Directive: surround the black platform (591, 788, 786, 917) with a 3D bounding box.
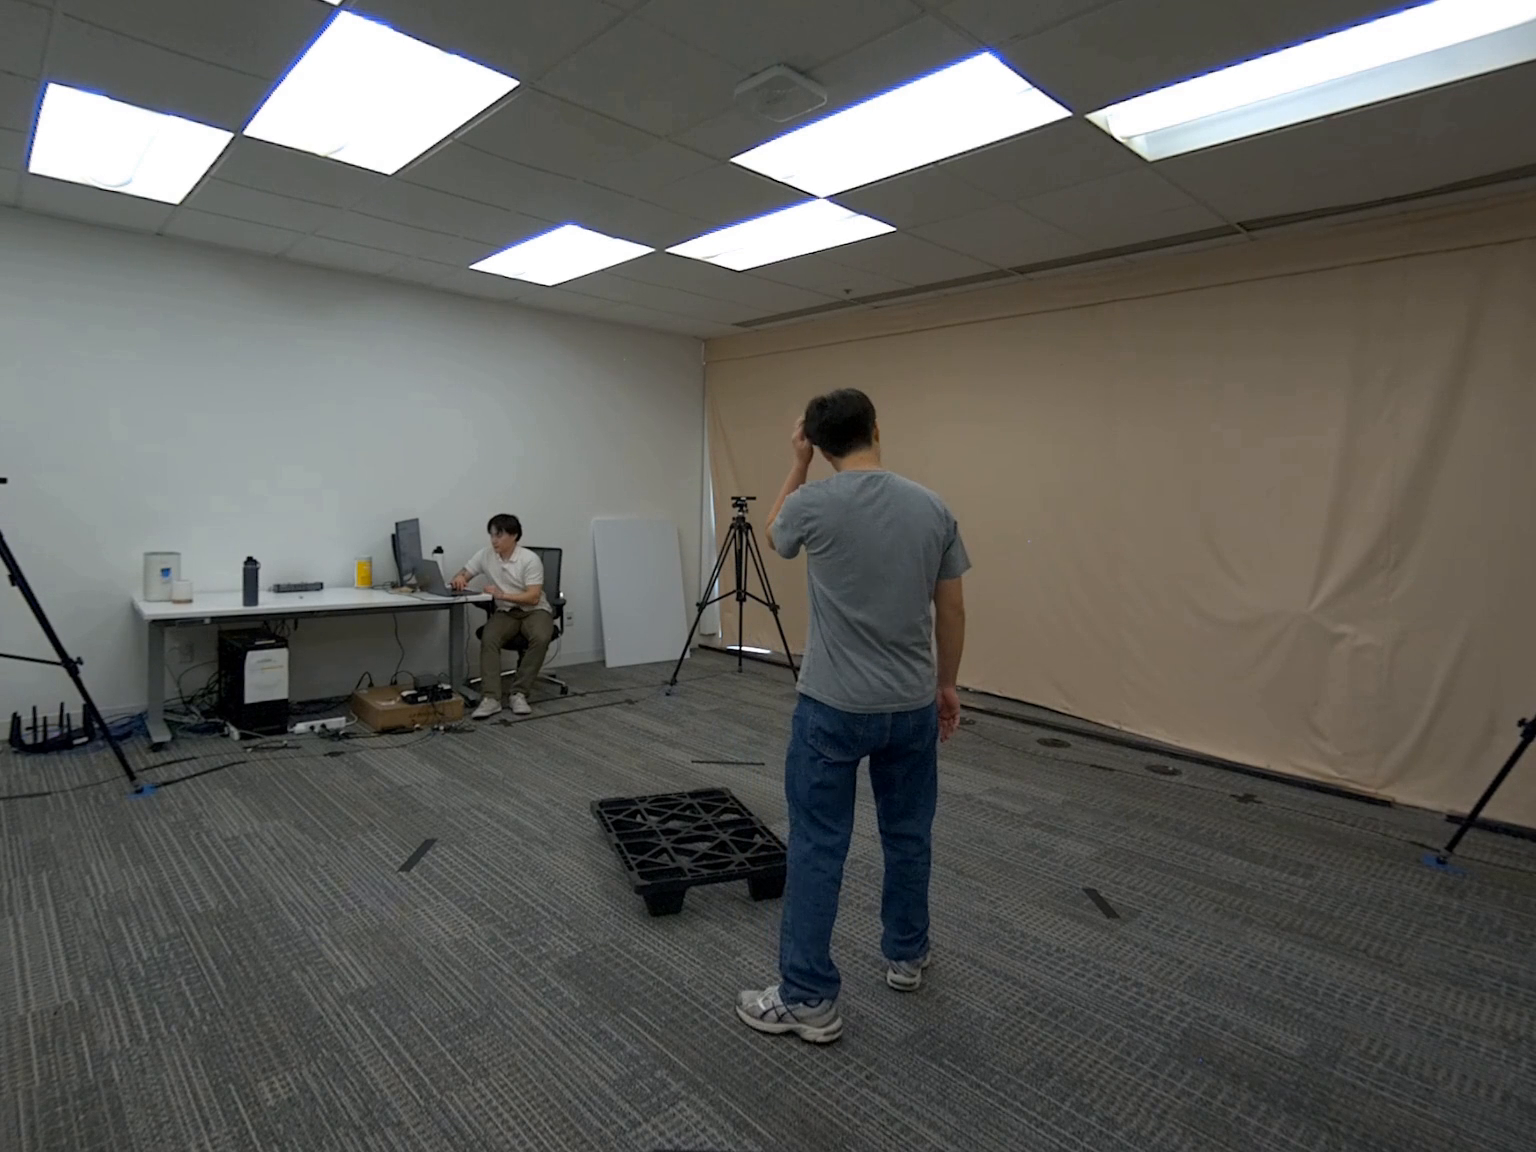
[{"bbox_3d":[-0.313,1.025,3.204,0.595,0.143,0.821,0,6,-22],"label":"black platform"}]
